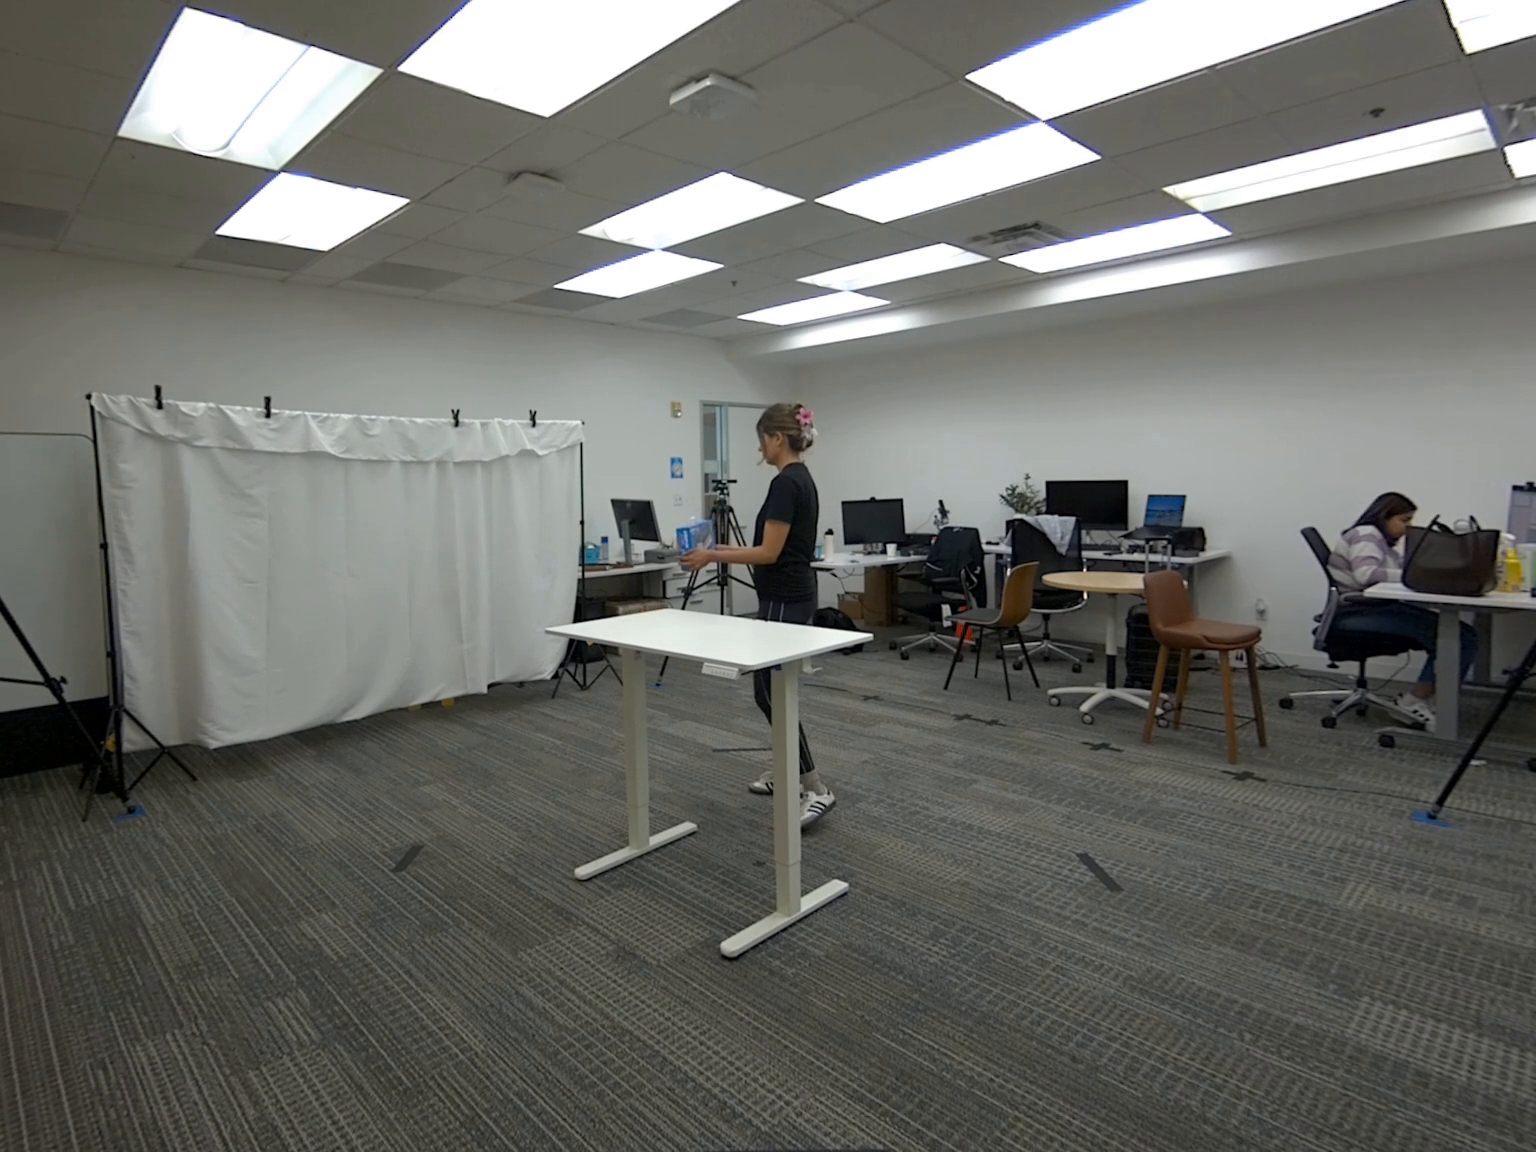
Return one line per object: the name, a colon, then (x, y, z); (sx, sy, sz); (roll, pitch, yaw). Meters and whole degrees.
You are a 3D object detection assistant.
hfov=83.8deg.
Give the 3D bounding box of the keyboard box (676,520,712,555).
keyboard box: (-0.309, -0.147, 3.800); (0.060, 0.175, 0.435); (-5, 7, 10)
